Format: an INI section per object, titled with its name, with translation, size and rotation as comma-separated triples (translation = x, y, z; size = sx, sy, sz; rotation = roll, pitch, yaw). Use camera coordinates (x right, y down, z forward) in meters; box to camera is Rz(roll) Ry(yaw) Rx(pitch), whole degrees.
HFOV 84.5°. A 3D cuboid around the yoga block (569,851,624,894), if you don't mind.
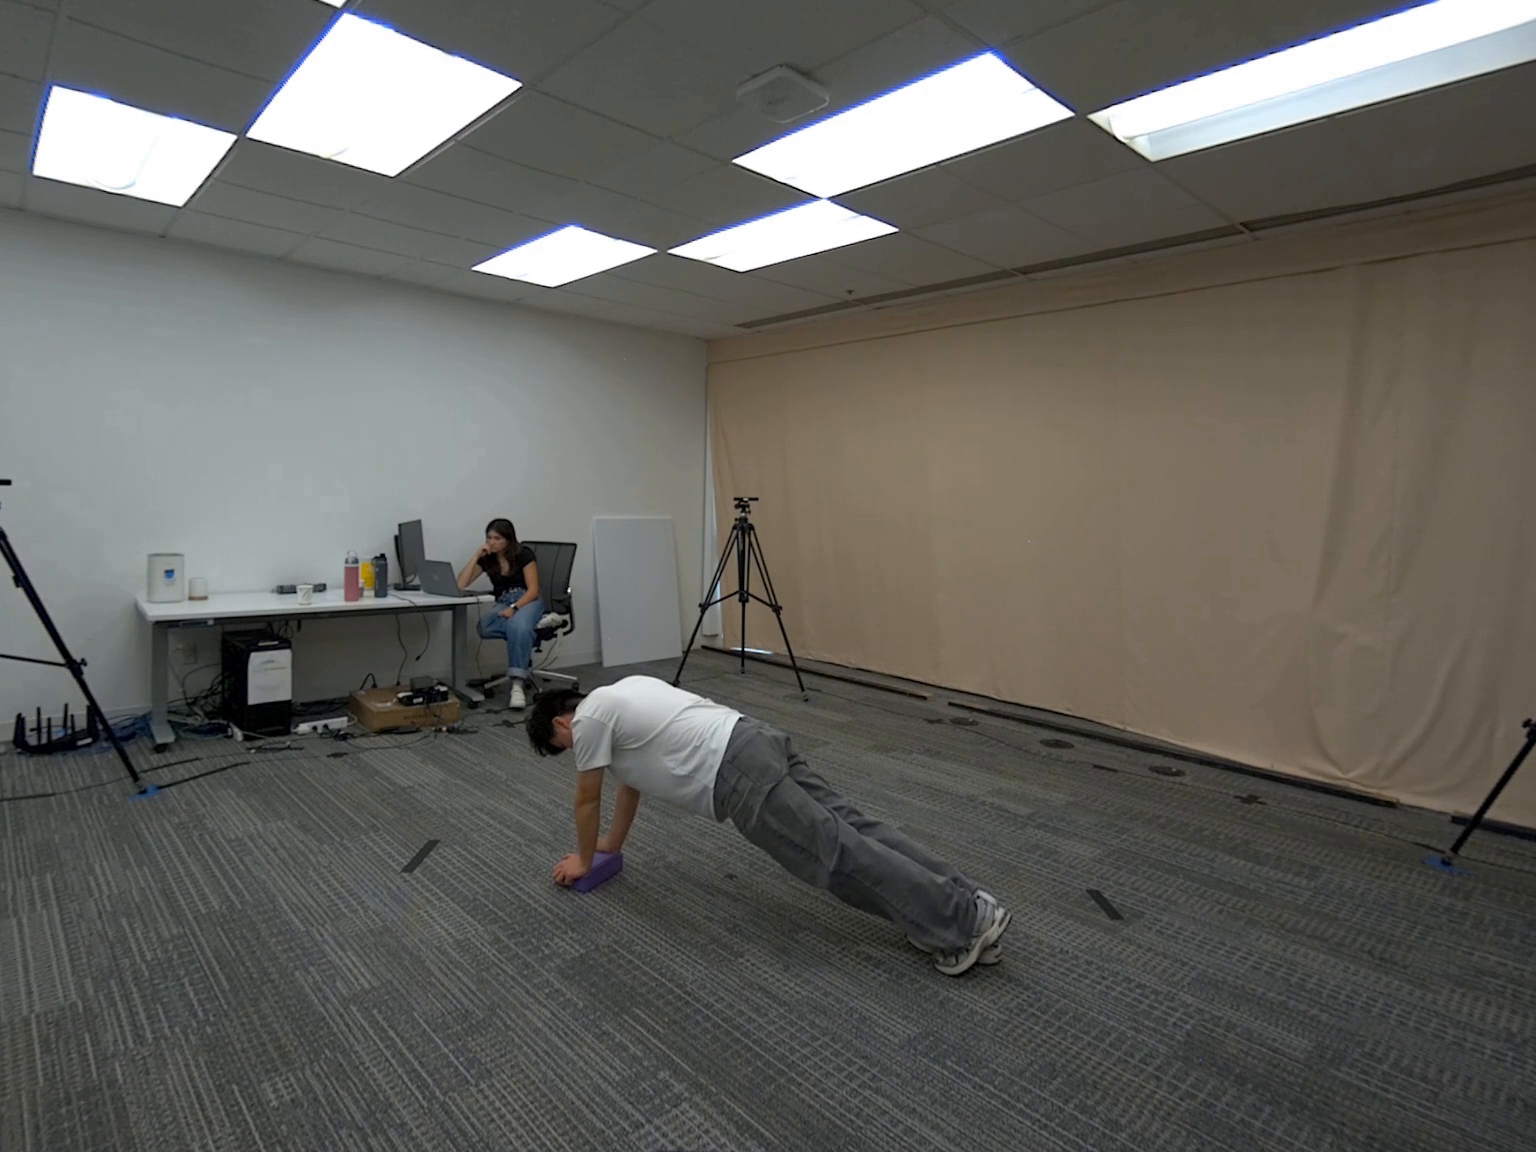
[yoga block]
translation = -0.662, 1.069, 3.071
size = 0.152, 0.076, 0.225
rotation = 3, 7, 28
